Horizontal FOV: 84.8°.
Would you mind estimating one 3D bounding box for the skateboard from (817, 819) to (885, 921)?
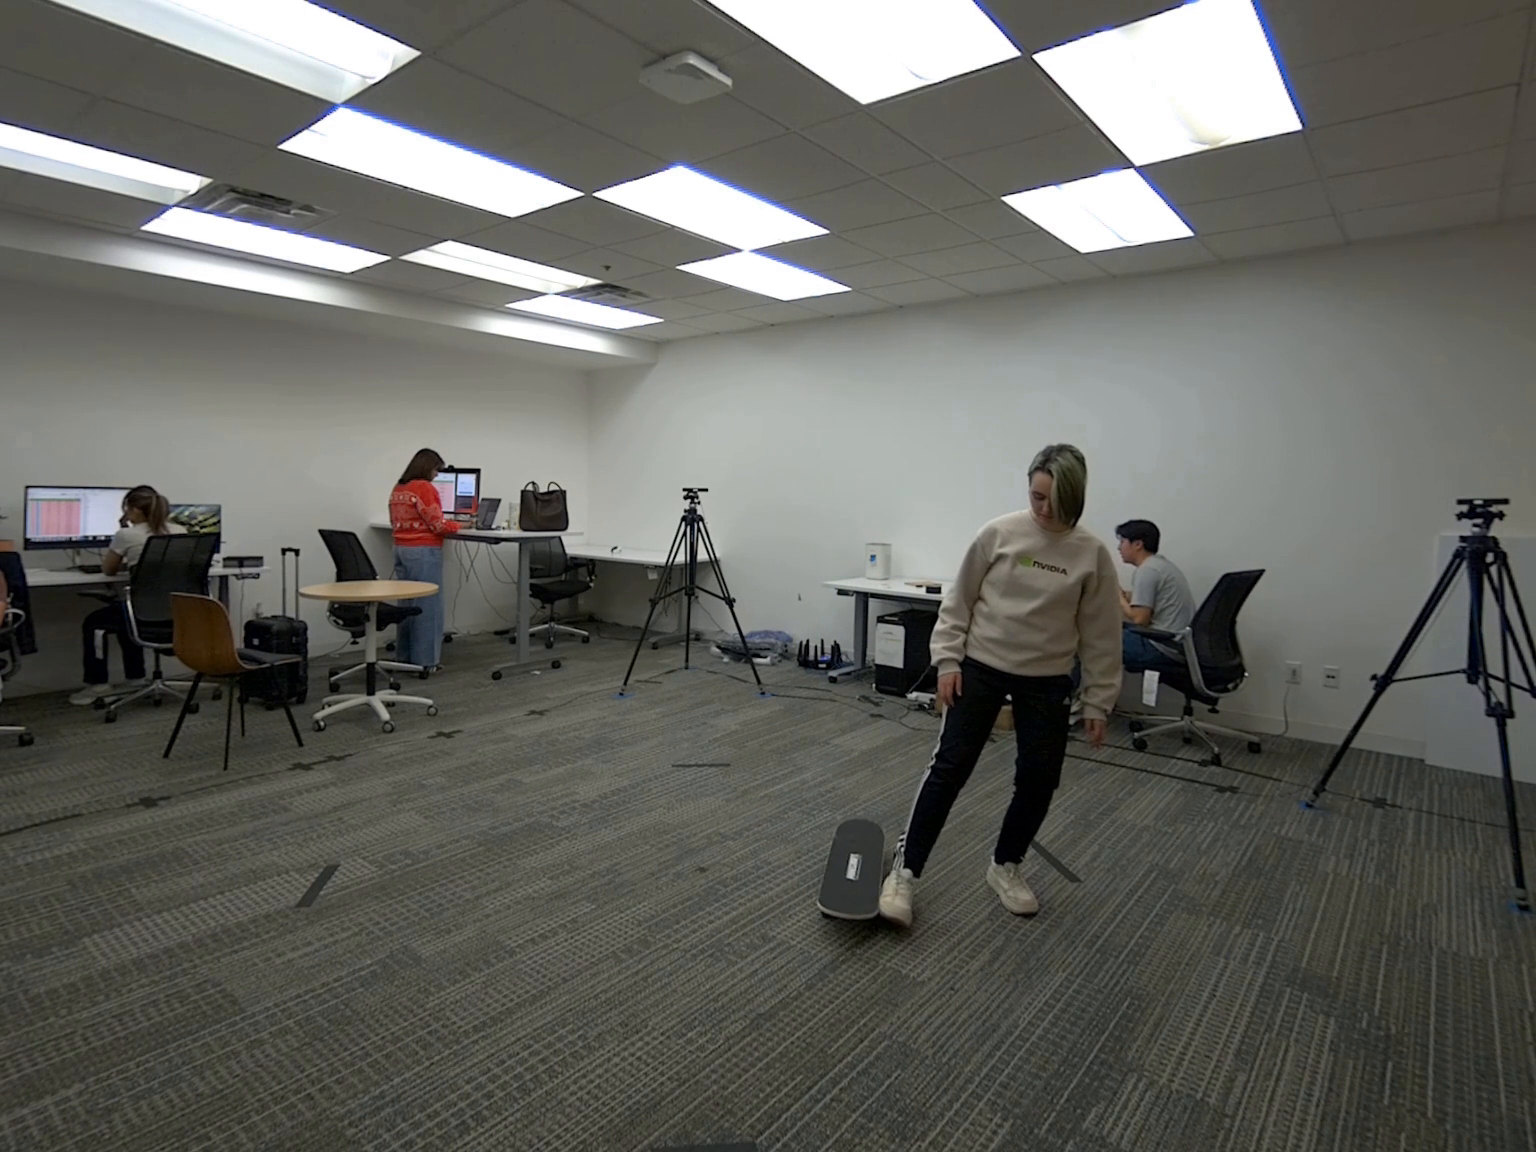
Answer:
[{"bbox_3d":[0.294,1.036,2.965,0.196,0.110,0.778,3,6,10],"label":"skateboard"}]
